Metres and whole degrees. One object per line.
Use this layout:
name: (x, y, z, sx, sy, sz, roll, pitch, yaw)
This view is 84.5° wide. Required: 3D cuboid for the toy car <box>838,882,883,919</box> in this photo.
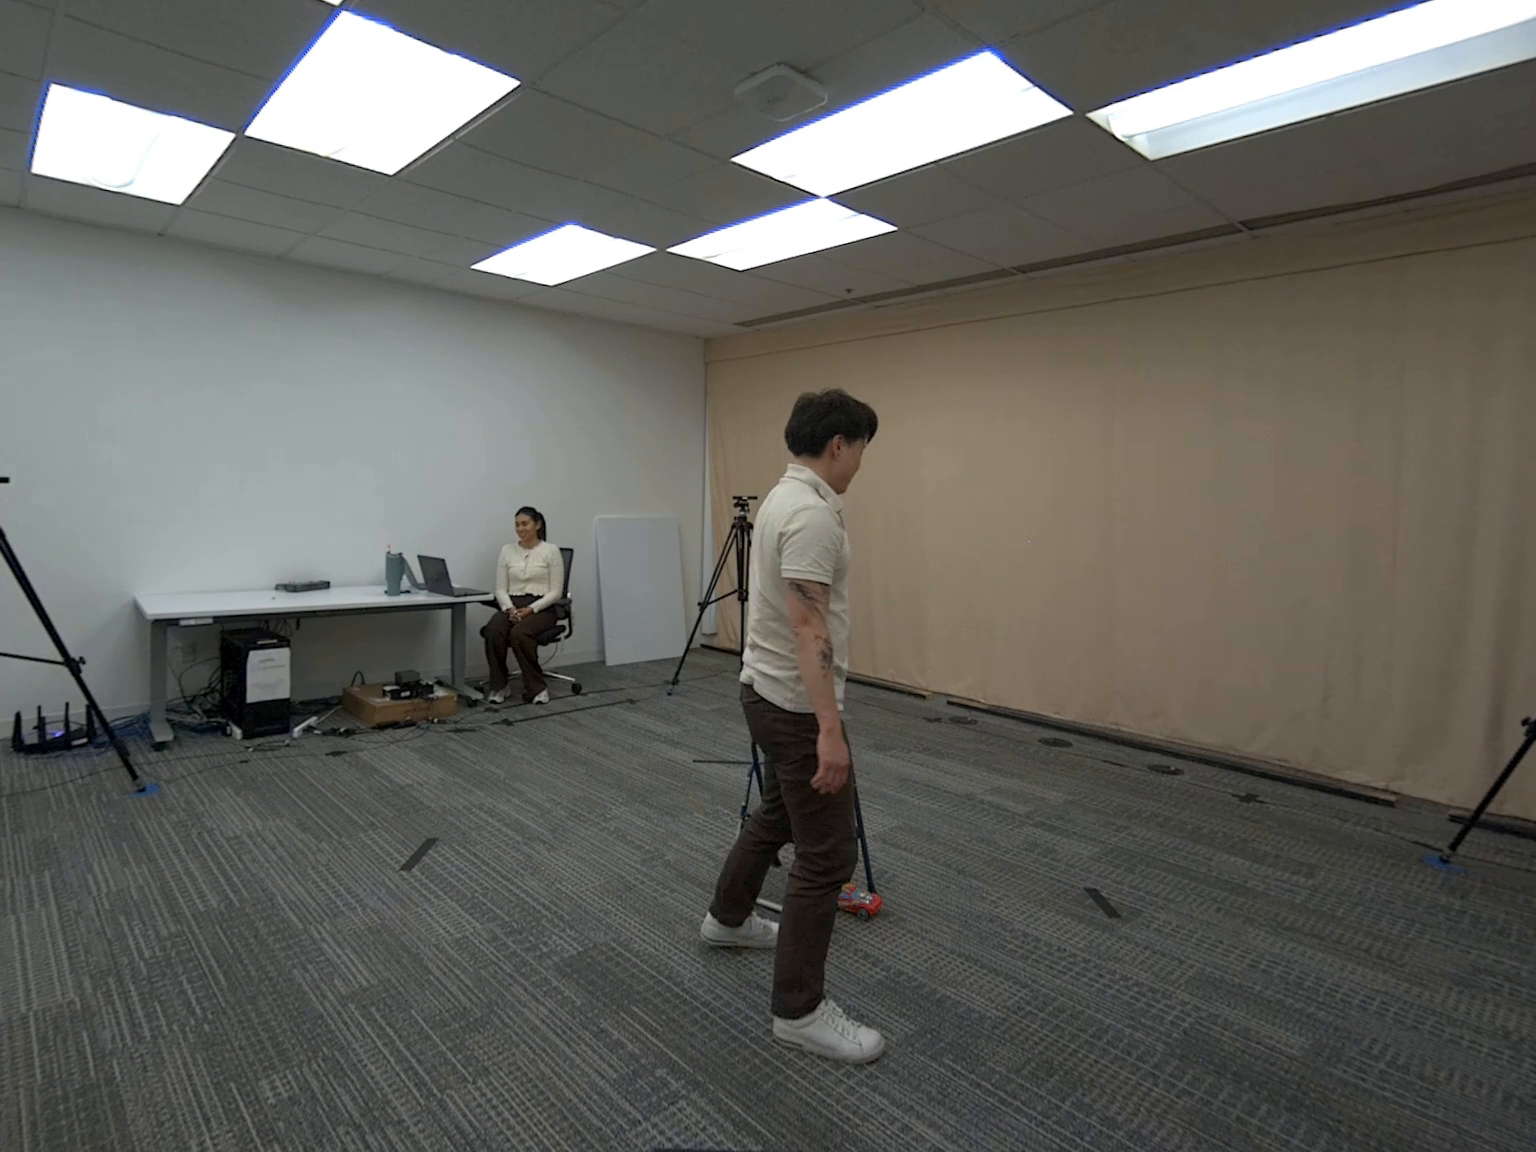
toy car: (0.250, 1.102, 2.877, 0.261, 0.083, 0.128, 16, 10, 30)
